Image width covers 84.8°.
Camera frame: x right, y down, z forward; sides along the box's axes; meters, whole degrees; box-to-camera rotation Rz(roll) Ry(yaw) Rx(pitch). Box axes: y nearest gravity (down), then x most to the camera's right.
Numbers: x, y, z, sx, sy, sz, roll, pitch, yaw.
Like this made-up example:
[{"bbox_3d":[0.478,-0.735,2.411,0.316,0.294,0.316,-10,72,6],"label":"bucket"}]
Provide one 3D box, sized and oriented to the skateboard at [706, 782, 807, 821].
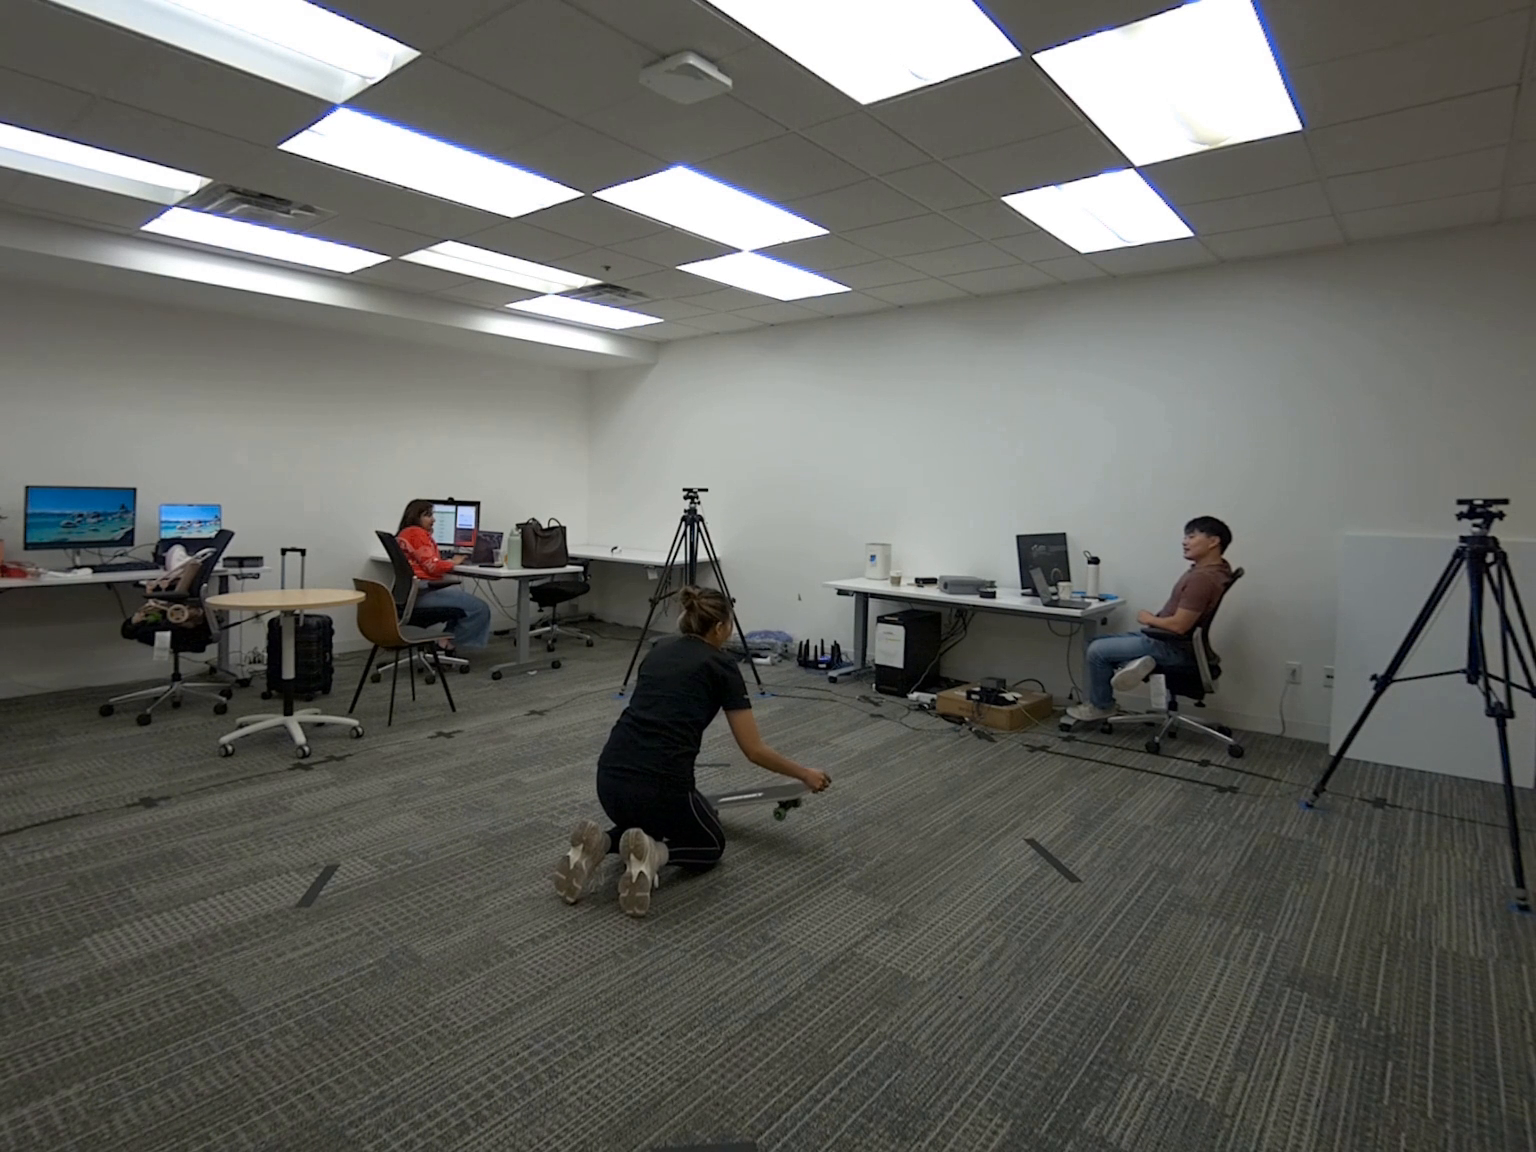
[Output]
[{"bbox_3d":[-0.121,0.928,3.443,0.800,0.111,0.189,-15,-2,27],"label":"skateboard"}]
